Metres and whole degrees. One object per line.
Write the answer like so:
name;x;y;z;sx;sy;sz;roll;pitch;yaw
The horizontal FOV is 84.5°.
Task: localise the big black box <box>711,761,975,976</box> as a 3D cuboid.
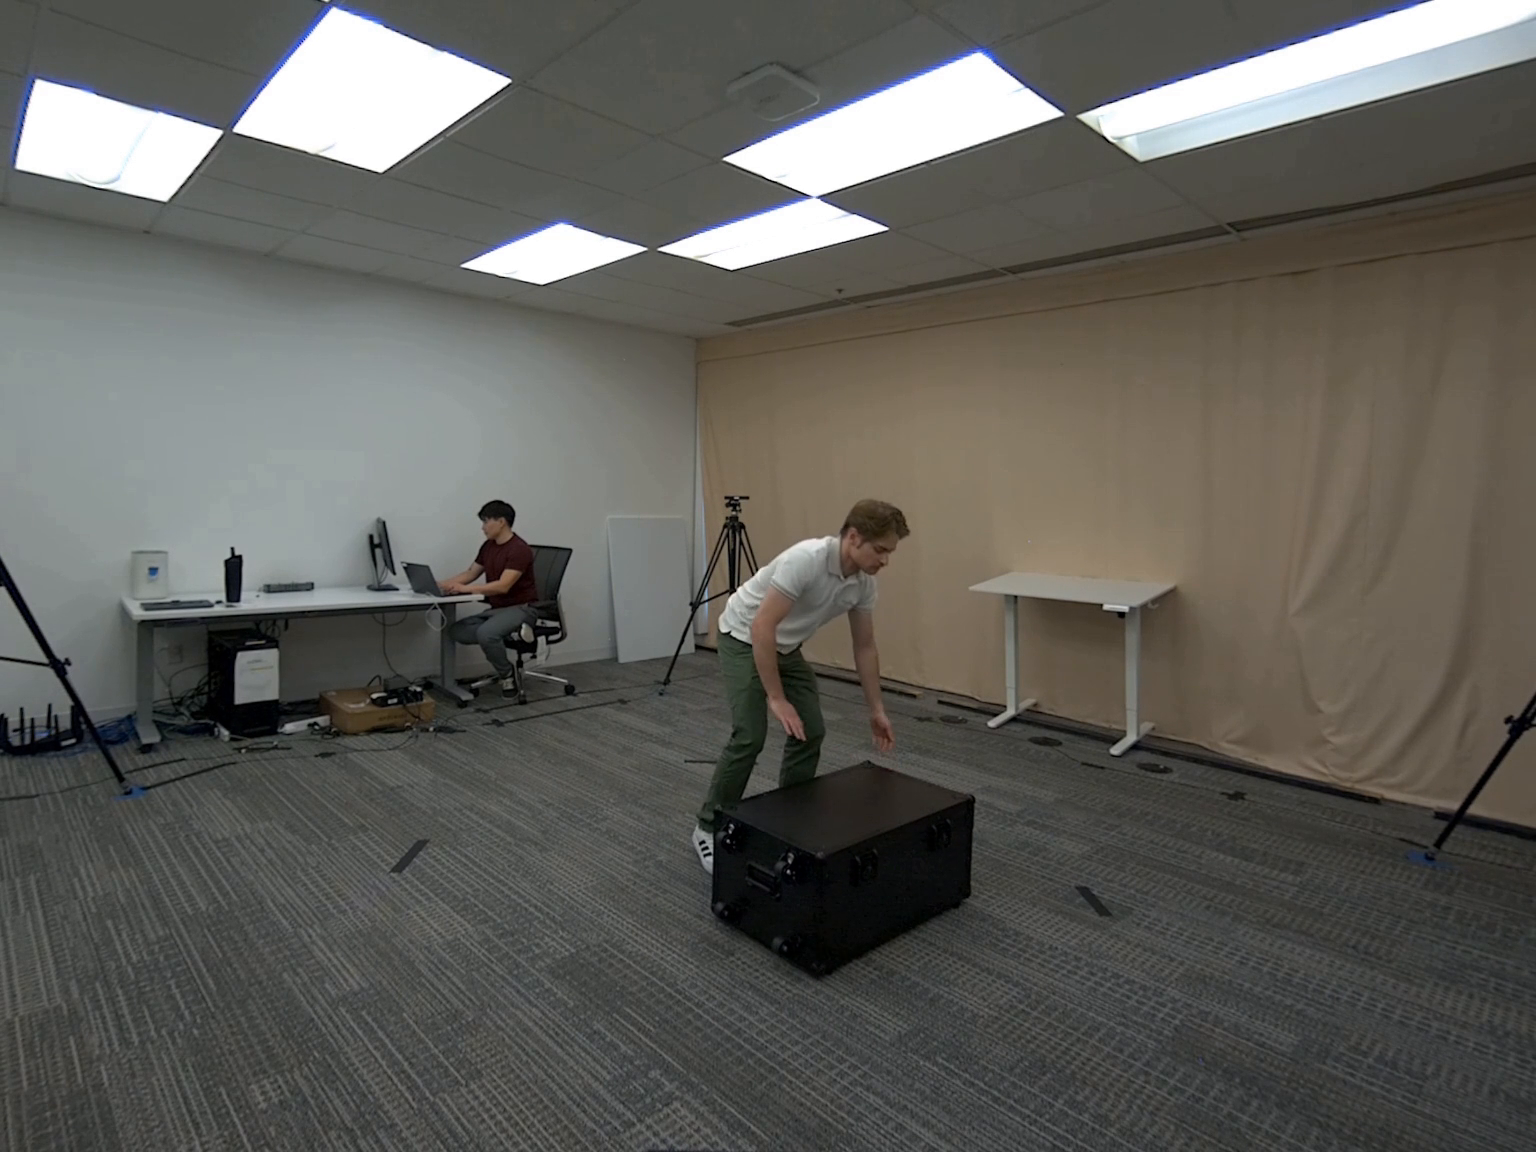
big black box;0.235;0.948;2.819;0.841;0.395;0.535;-2;5;-43
